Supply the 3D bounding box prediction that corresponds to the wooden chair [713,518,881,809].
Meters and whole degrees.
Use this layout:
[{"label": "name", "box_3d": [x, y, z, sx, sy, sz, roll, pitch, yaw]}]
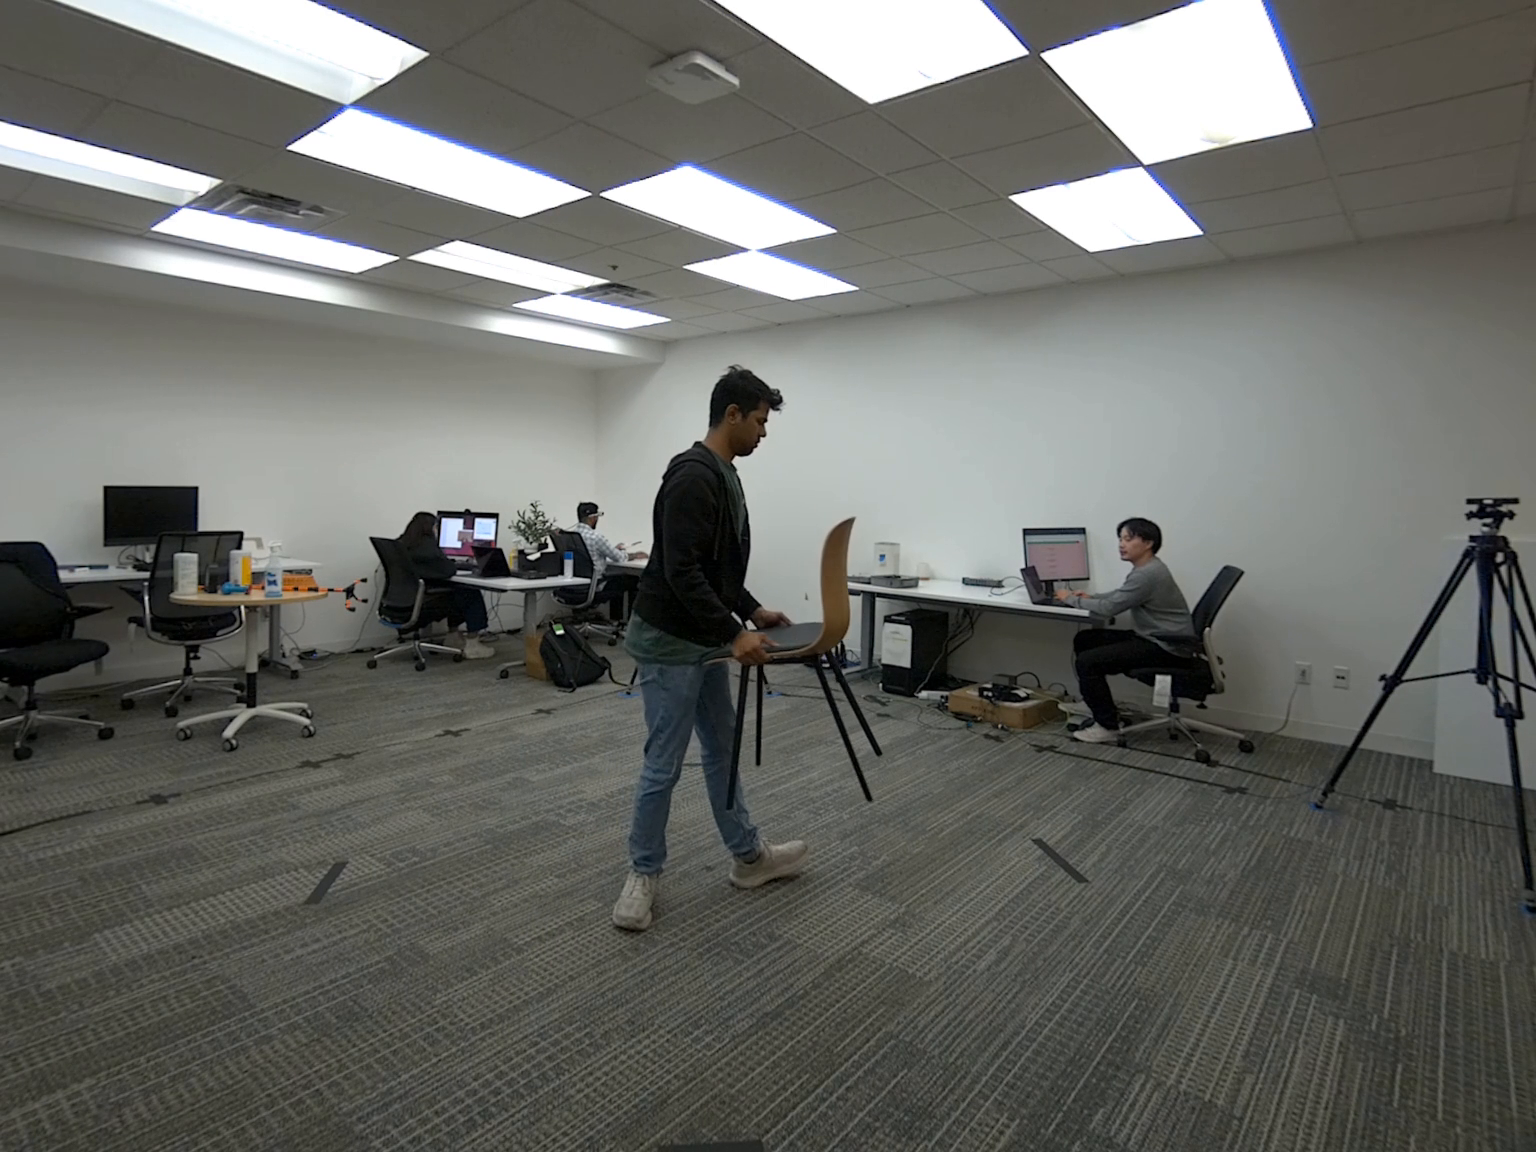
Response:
[{"label": "wooden chair", "box_3d": [0.055, 0.265, 2.795, 0.531, 0.875, 0.472, -5, 3, 14]}]
